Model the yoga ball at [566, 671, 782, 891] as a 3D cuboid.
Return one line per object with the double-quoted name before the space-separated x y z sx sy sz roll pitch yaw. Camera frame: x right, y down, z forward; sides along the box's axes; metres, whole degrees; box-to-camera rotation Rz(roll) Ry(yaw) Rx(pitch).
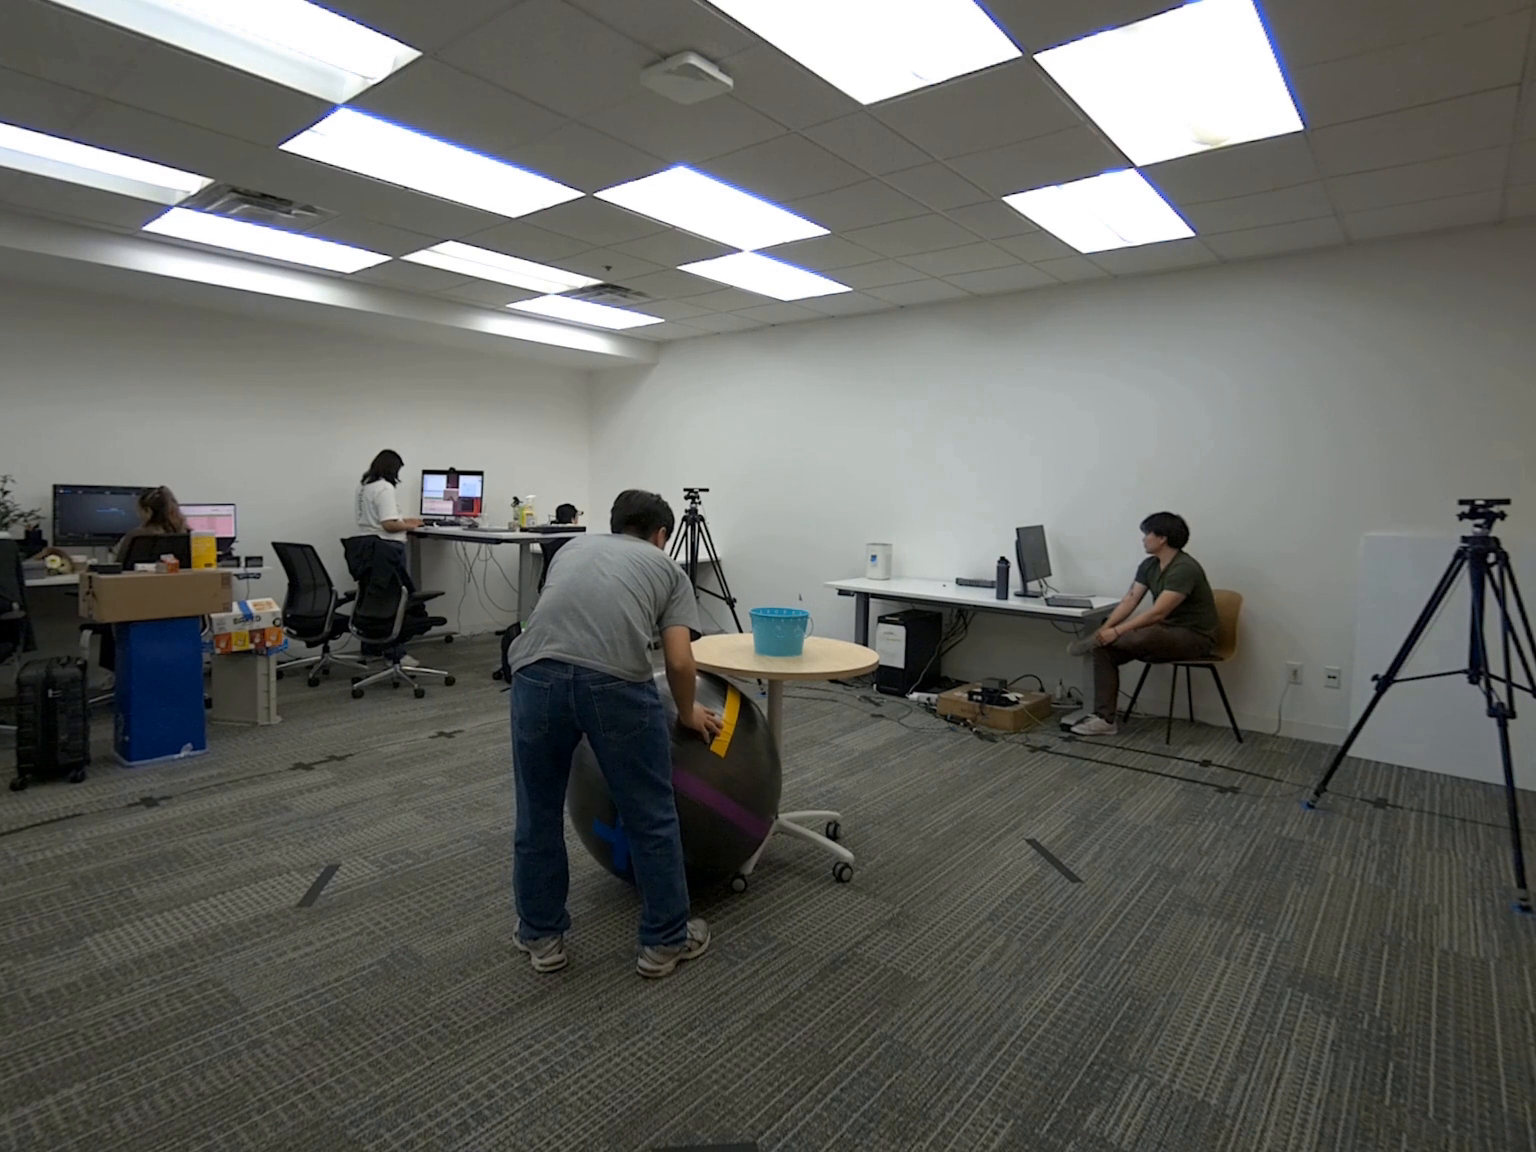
"yoga ball" -0.363 0.708 2.987 0.757 0.755 0.762 1 4 -2
